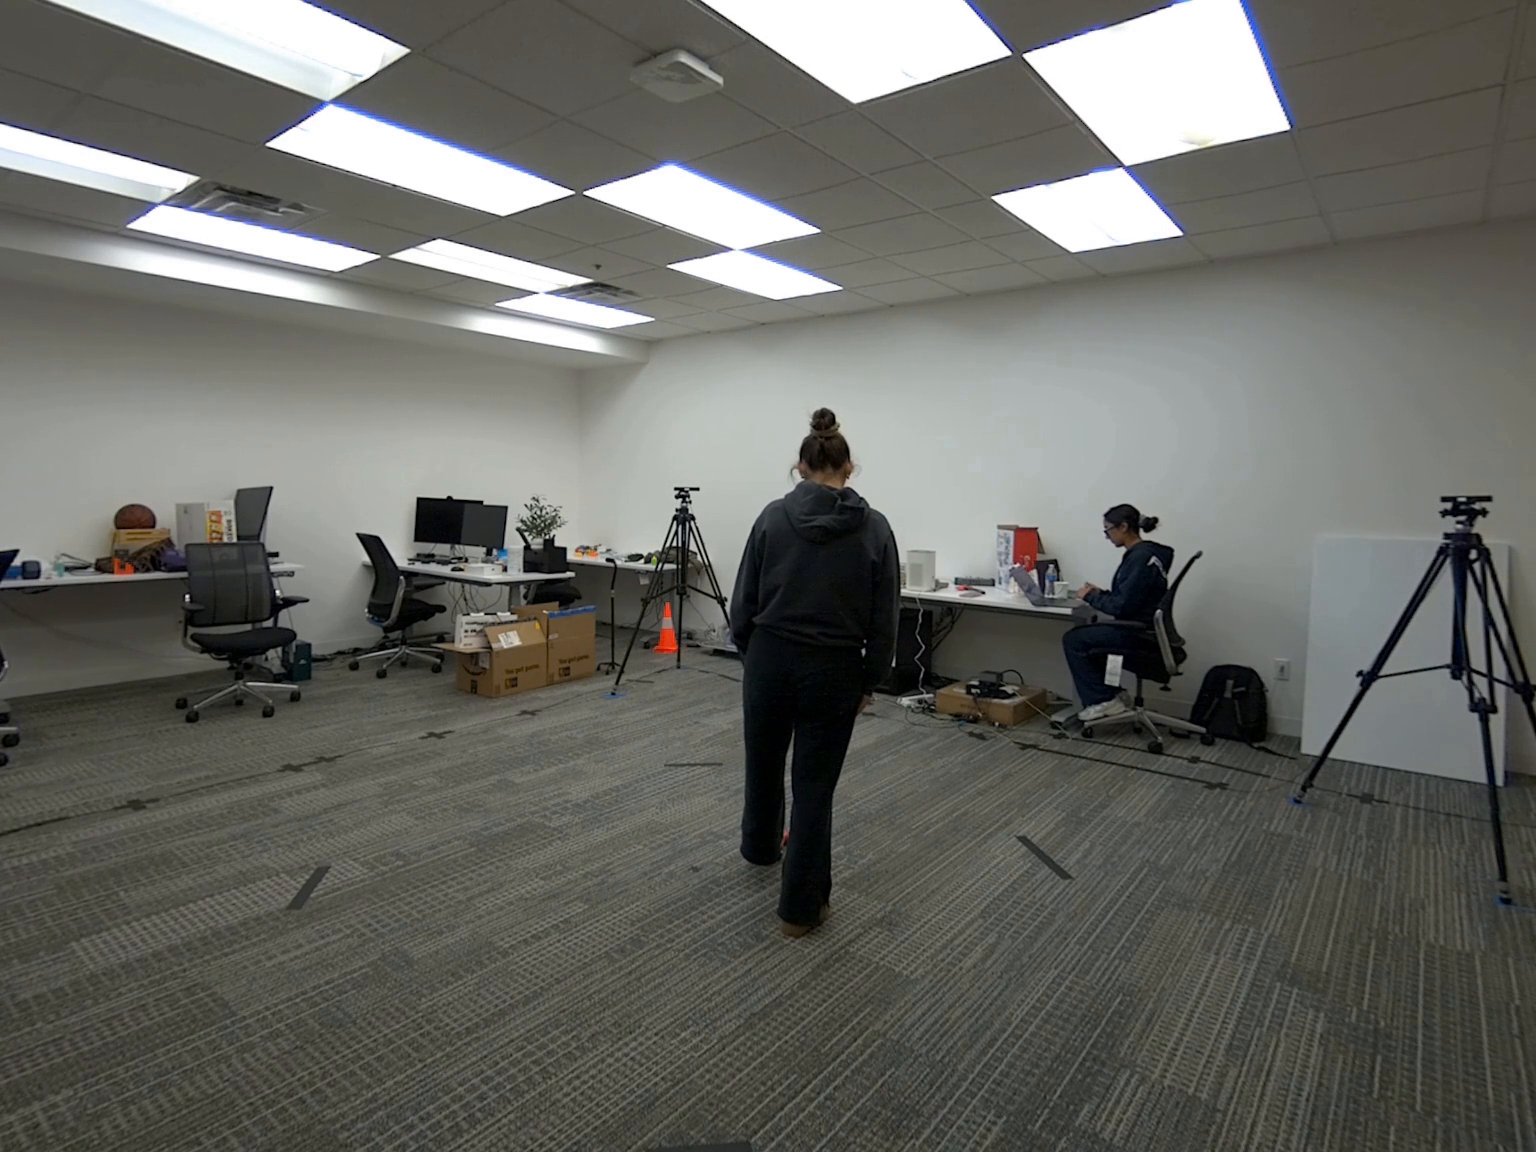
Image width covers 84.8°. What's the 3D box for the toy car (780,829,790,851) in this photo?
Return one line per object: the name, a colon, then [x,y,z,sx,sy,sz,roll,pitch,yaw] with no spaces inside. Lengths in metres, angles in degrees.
toy car: [0.018,1.019,3.264,0.132,0.083,0.250,1,-3,13]
